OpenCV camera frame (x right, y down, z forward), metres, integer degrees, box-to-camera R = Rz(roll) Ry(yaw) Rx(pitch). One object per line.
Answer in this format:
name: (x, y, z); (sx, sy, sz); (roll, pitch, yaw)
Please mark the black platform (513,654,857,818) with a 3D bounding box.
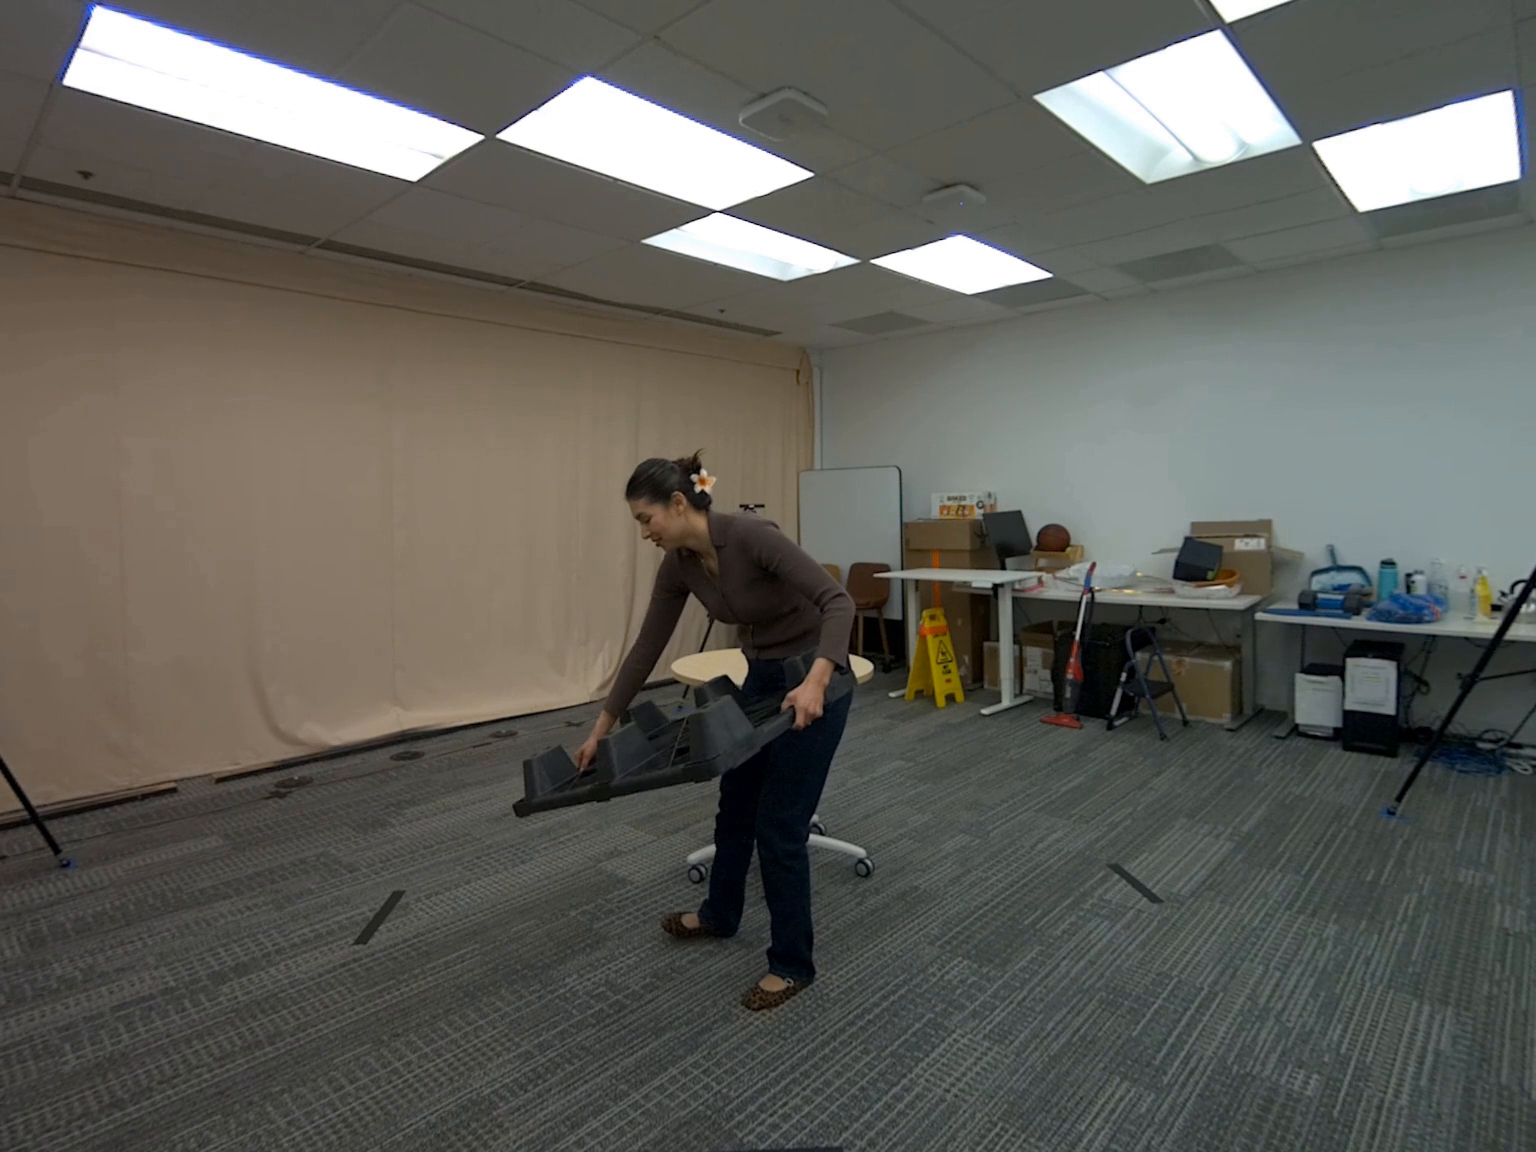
black platform: (-0.236, 0.409, 2.203); (0.823, 0.143, 0.591); (-22, 0, 39)
